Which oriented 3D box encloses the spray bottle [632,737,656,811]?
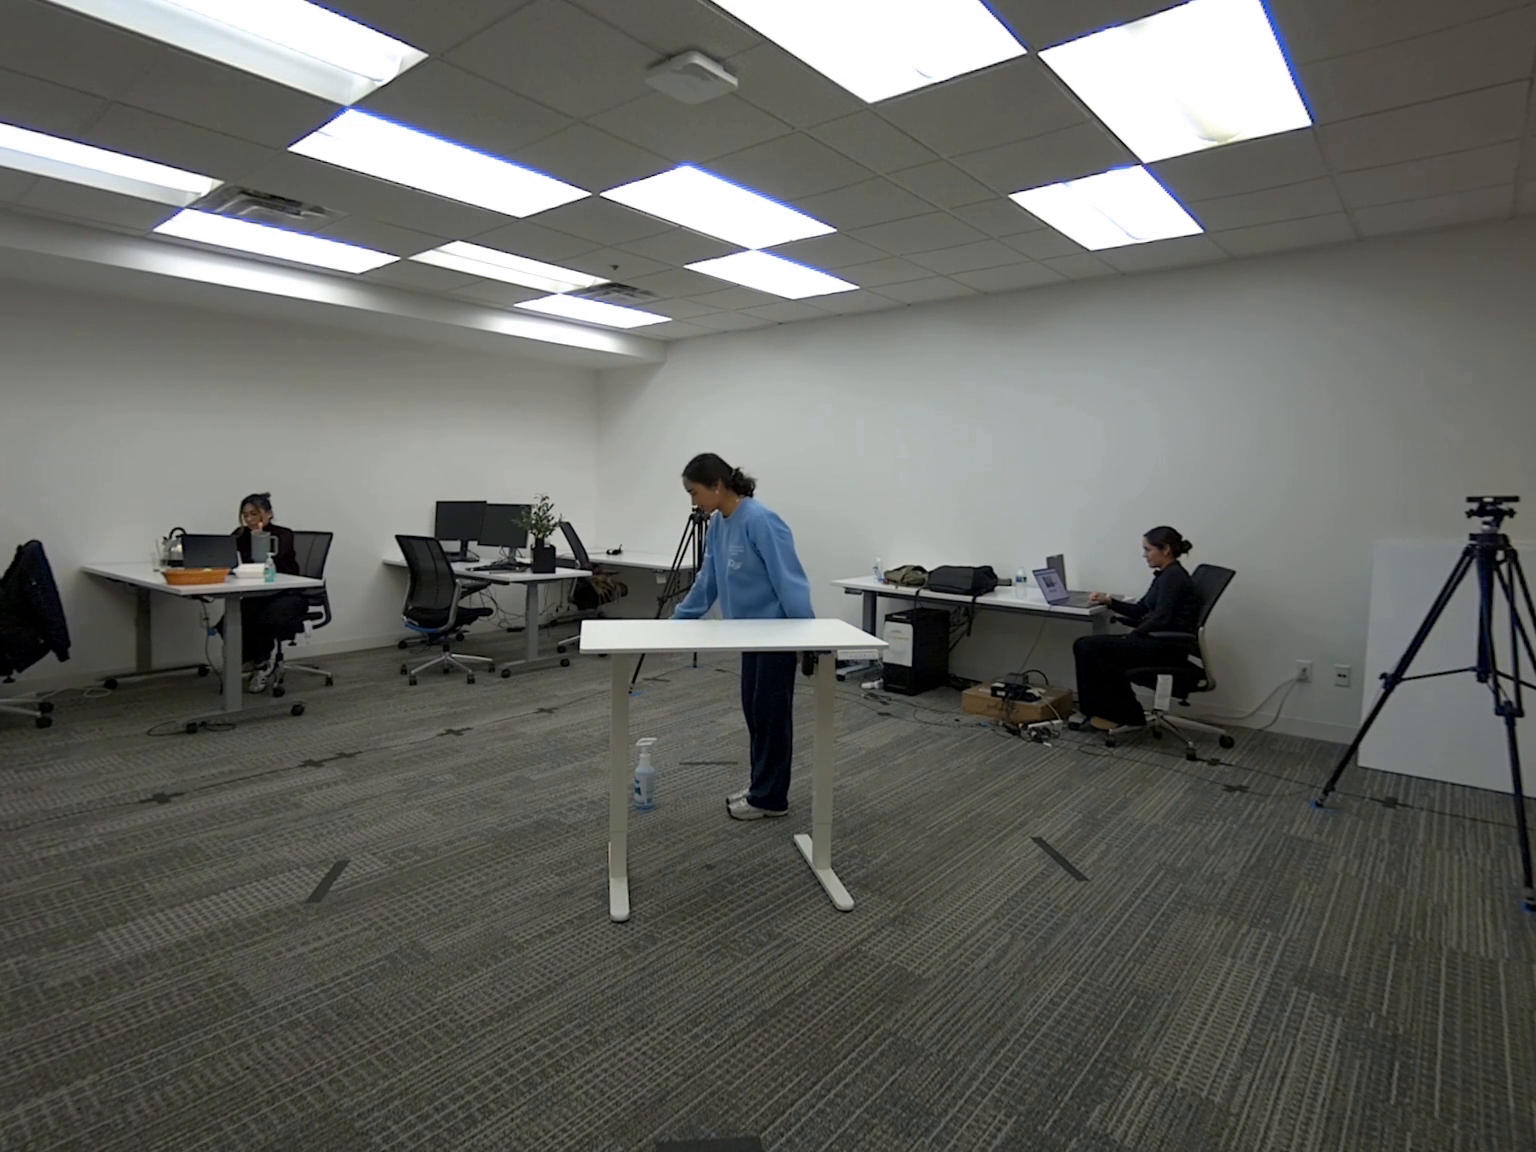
[{"bbox_3d":[-0.549,0.860,3.714,0.092,0.296,0.085,2,5,22],"label":"spray bottle"}]
